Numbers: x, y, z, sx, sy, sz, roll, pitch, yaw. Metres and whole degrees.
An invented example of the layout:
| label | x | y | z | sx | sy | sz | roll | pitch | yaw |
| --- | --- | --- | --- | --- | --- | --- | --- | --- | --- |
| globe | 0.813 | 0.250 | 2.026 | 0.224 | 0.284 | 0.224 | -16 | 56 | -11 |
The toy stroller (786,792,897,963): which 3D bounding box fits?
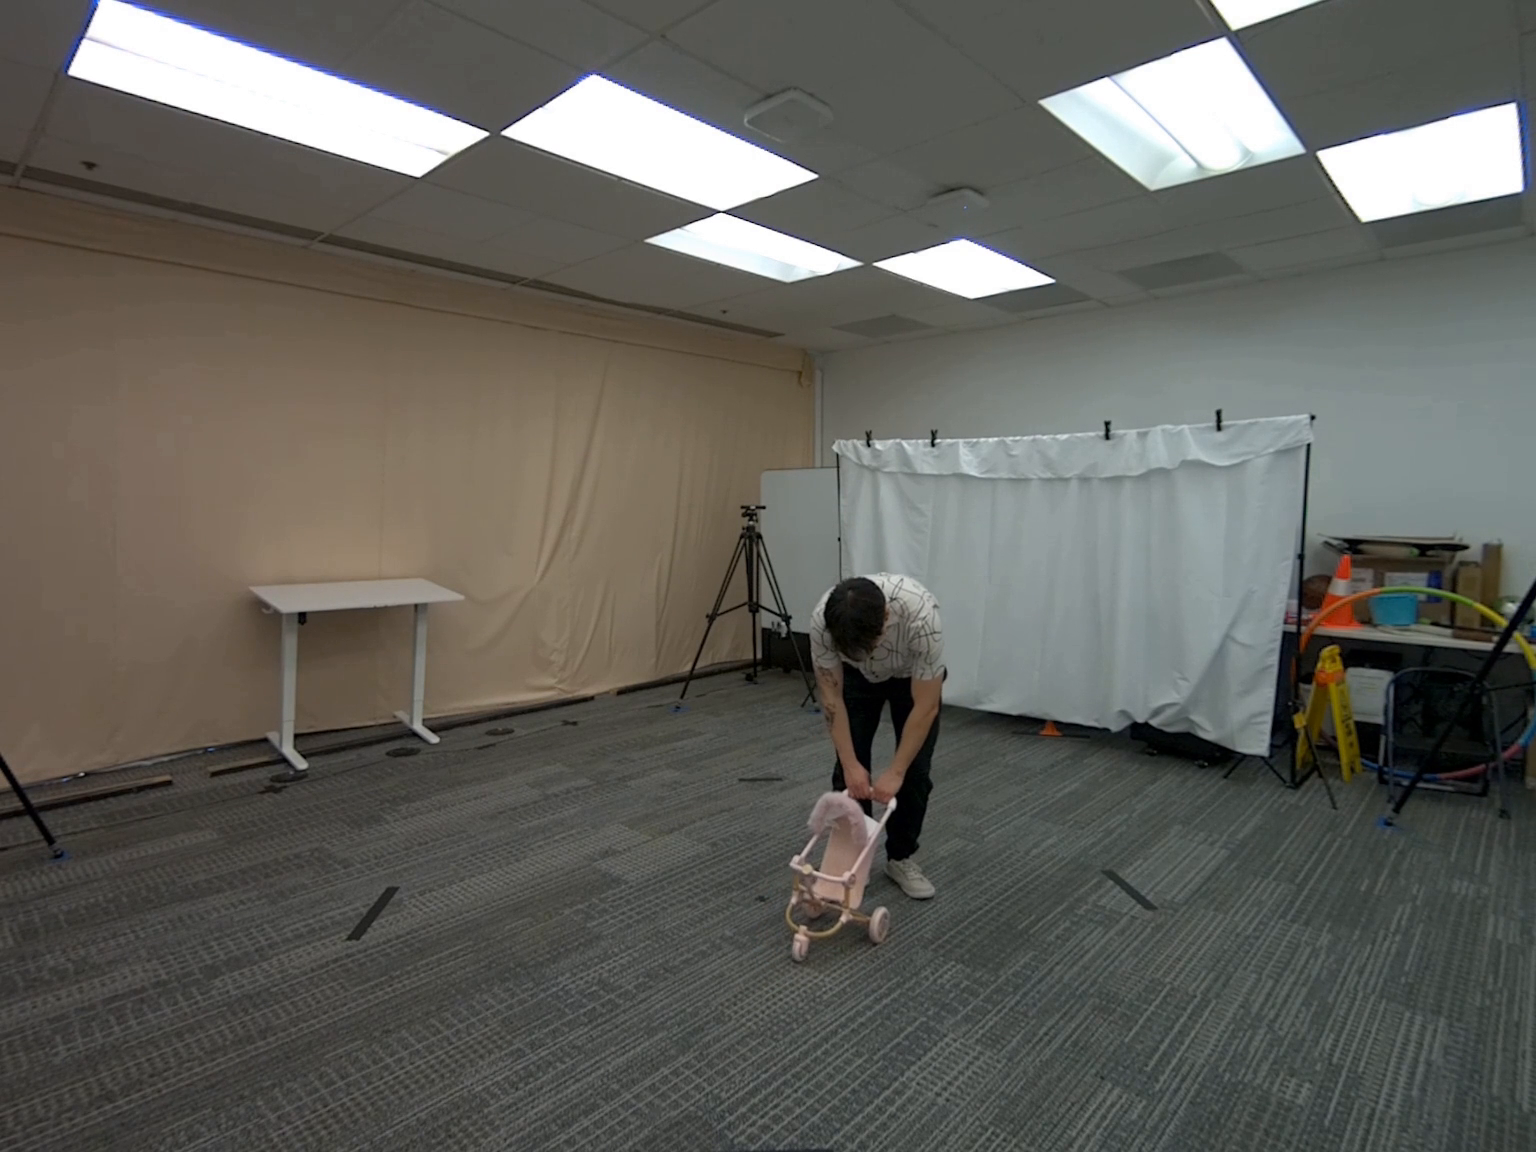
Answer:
| label | x | y | z | sx | sy | sz | roll | pitch | yaw |
| --- | --- | --- | --- | --- | --- | --- | --- | --- | --- |
| toy stroller | 0.223 | 0.939 | 2.710 | 0.291 | 0.537 | 0.329 | 3 | -12 | 44 |
